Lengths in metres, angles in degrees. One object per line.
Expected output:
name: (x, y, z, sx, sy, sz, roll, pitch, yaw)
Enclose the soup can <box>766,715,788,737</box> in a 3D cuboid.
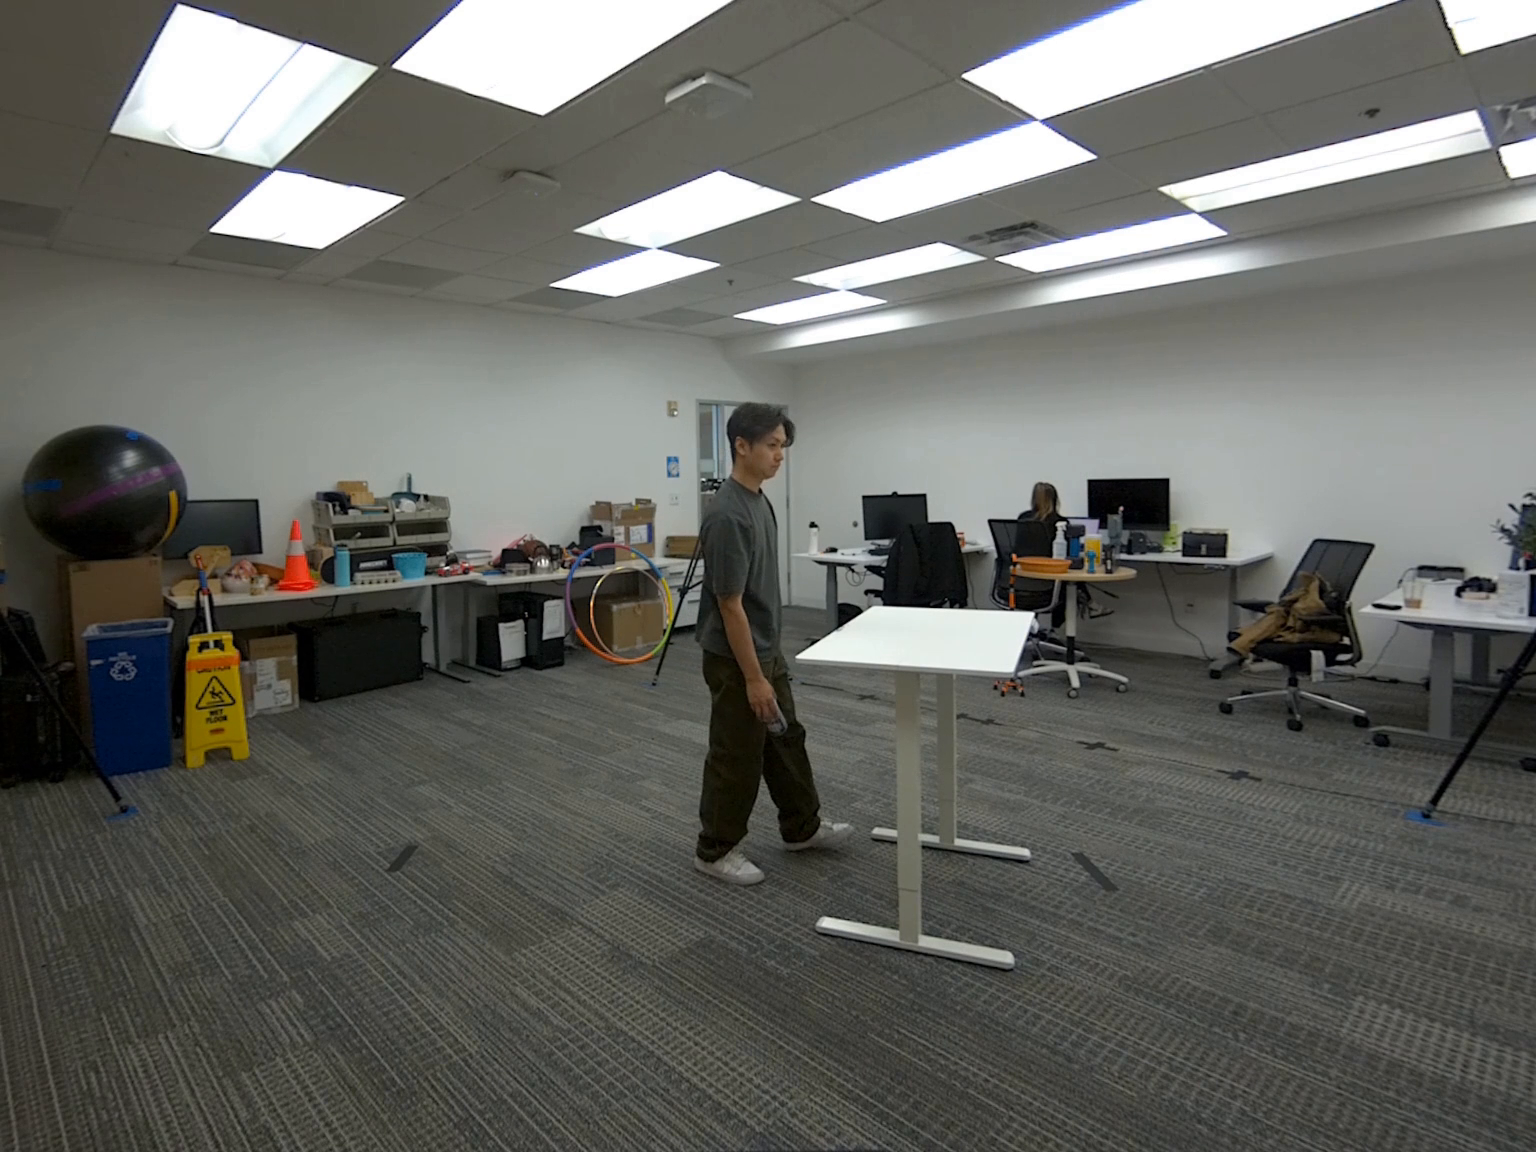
soup can: (0.005, 0.465, 2.823, 0.067, 0.118, 0.069, -10, 29, 4)
